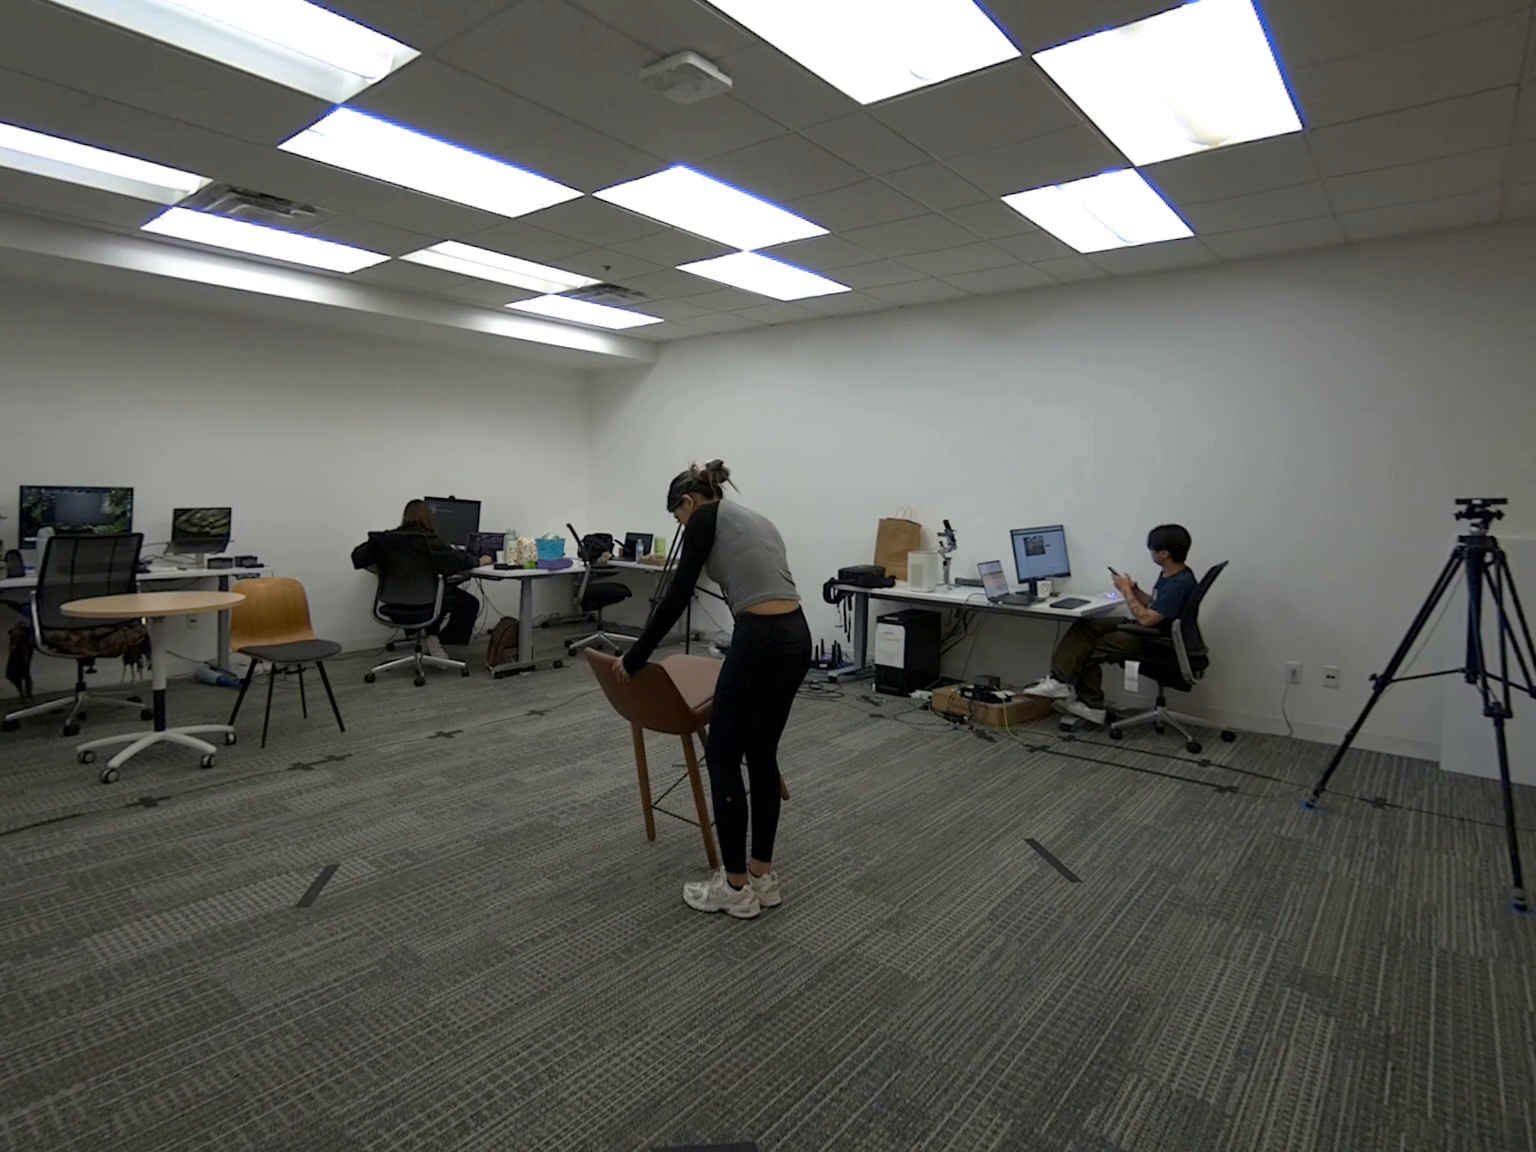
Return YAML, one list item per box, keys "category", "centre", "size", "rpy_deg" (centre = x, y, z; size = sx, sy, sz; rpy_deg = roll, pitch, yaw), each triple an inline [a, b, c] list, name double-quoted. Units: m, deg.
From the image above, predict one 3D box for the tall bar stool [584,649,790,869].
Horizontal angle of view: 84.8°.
- category: "tall bar stool"
  centre: [-0.321, 0.576, 3.245]
  size: [0.472, 0.870, 0.462]
  rpy_deg: [4, 28, 43]
